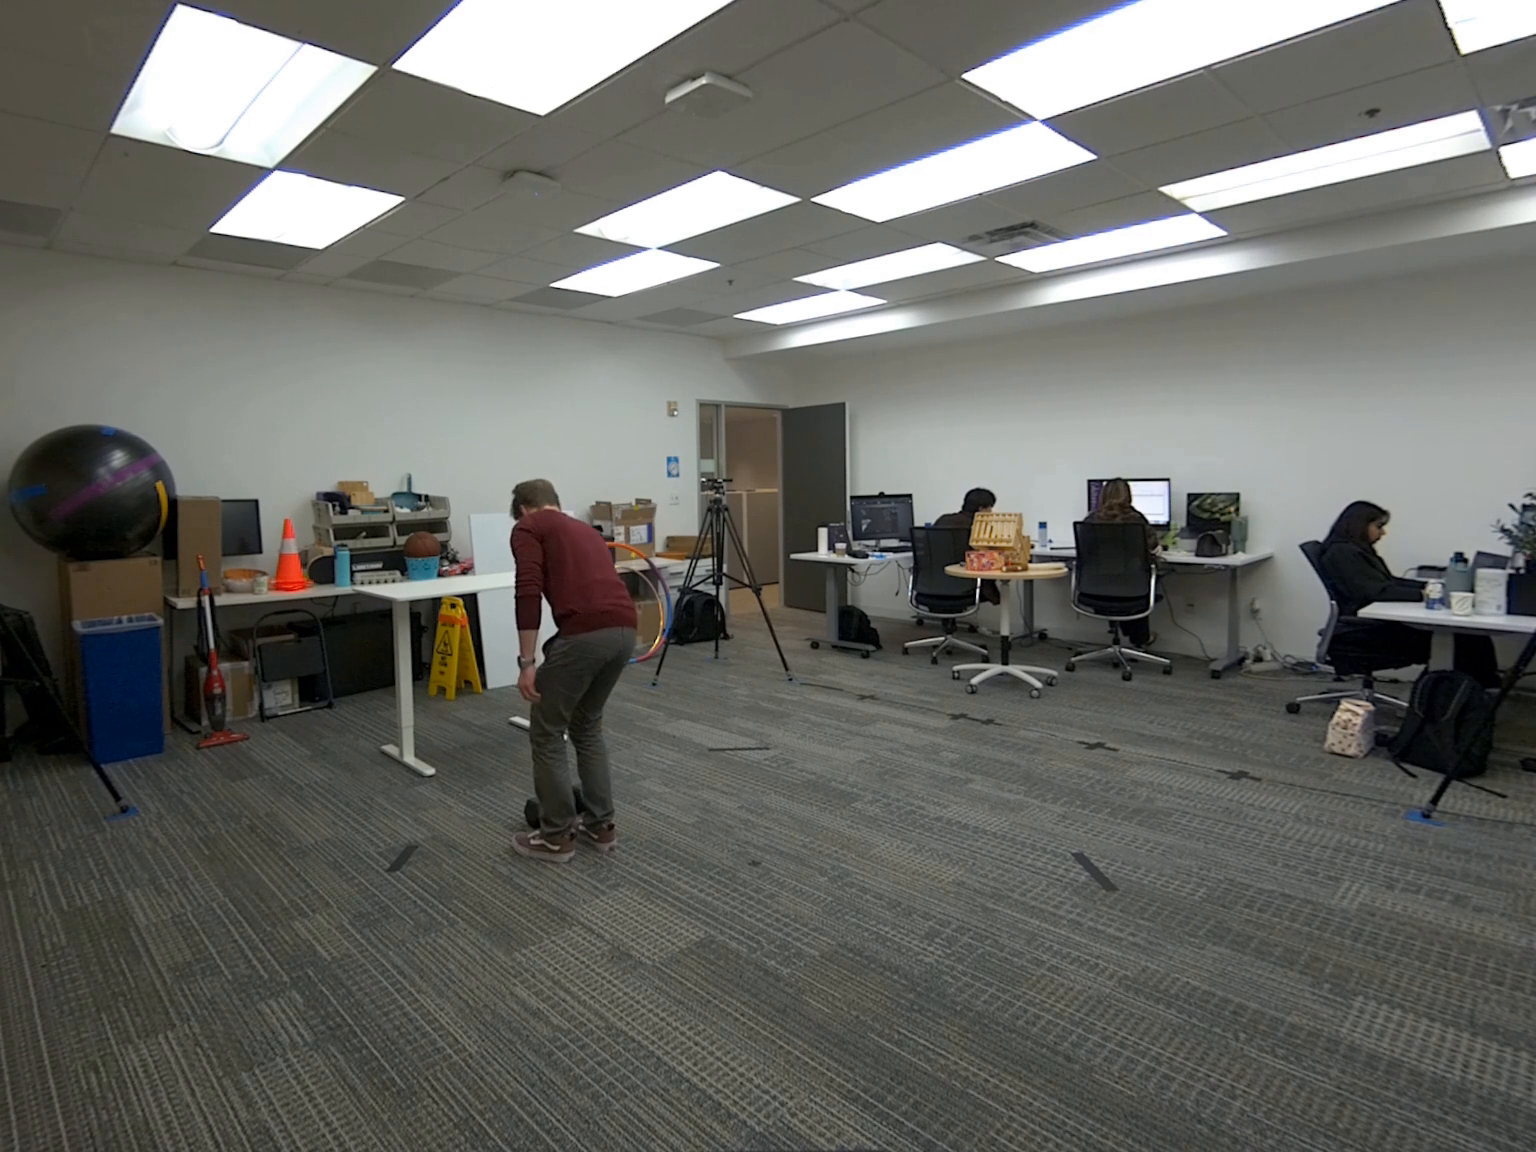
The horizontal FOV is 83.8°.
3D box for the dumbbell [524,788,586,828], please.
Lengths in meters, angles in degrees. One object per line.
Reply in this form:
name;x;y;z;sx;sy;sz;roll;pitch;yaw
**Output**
dumbbell;-0.867;0.955;3.573;0.286;0.126;0.109;-6;-25;-46
